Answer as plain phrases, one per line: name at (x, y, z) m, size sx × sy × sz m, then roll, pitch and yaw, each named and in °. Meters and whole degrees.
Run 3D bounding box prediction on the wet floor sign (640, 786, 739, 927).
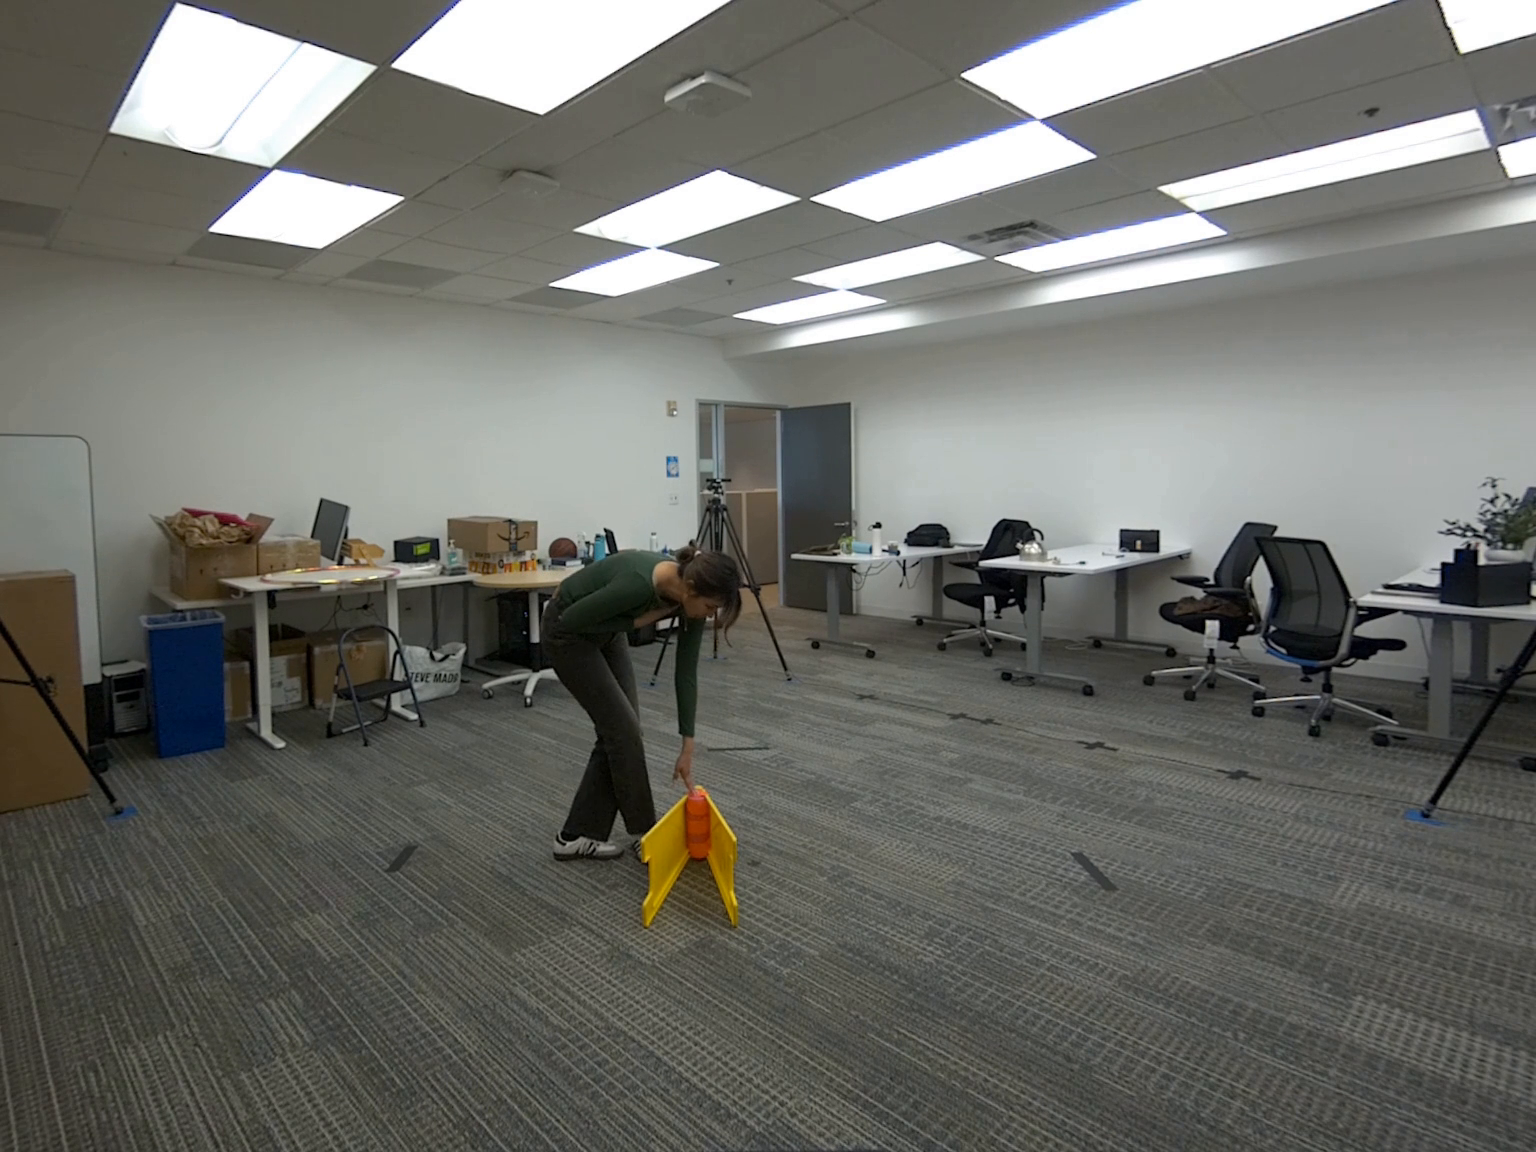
wet floor sign at (-0.254, 0.929, 2.986) m, size 0.290 × 0.281 × 0.648 m, roll -1°, pitch 4°, yaw -1°
